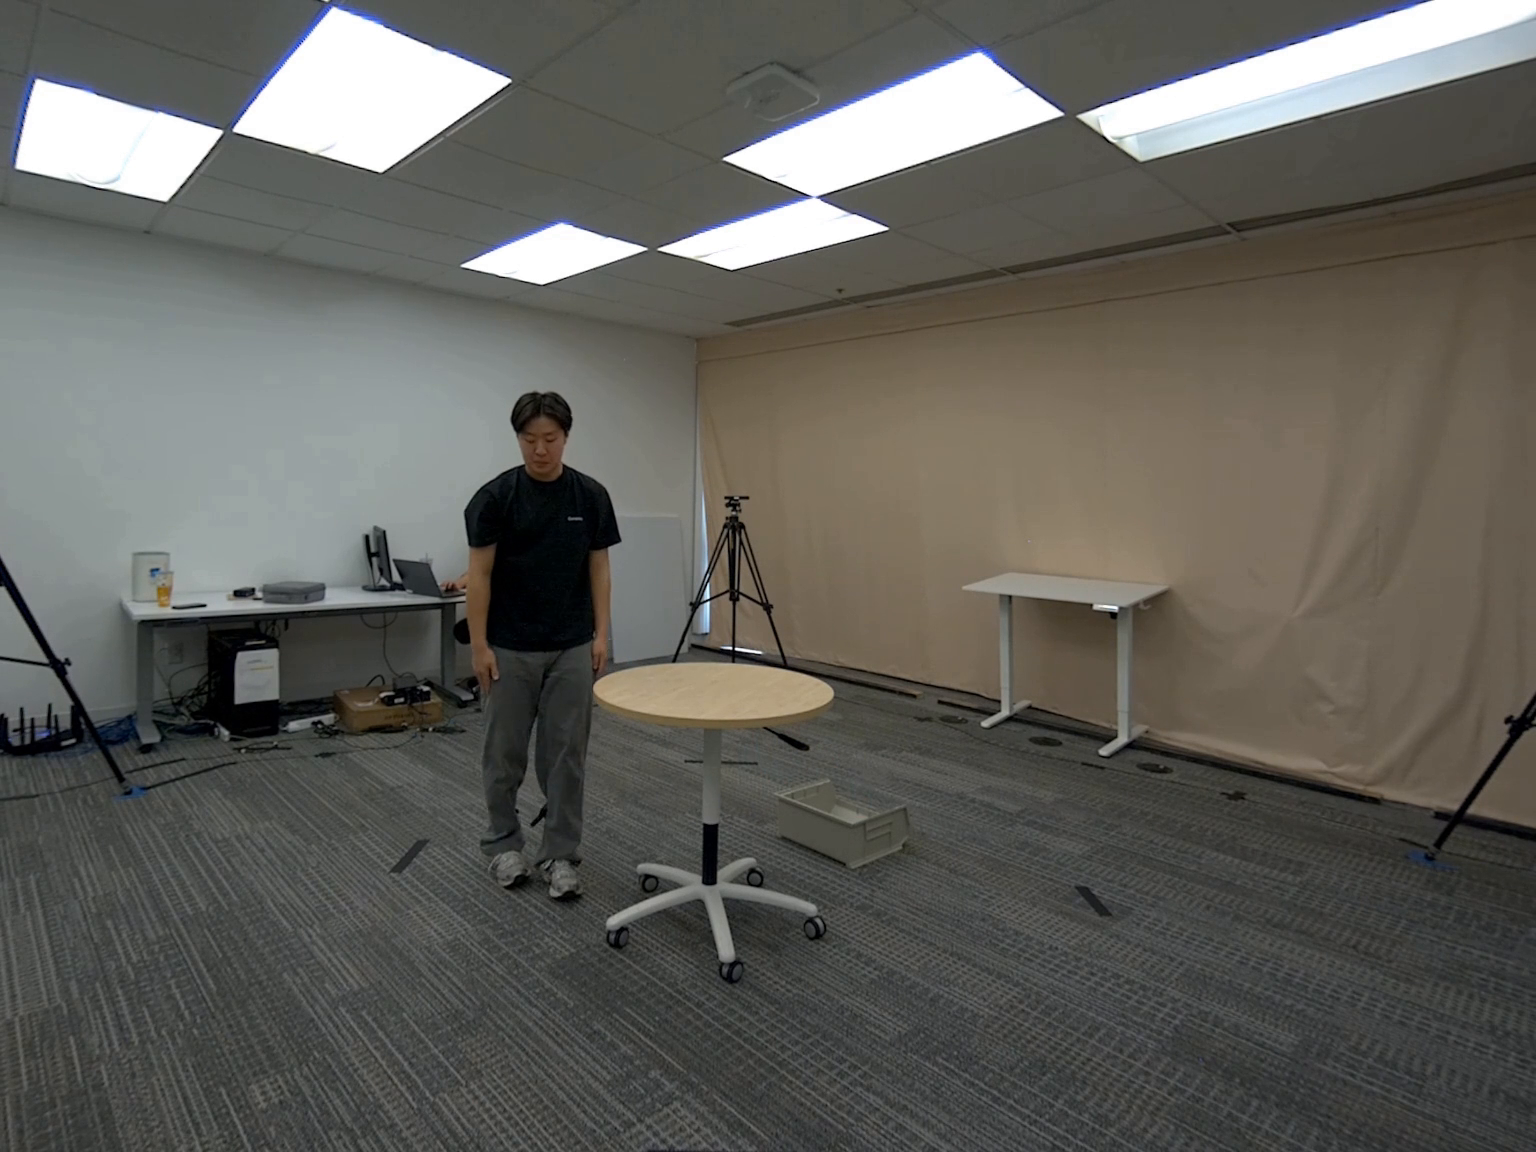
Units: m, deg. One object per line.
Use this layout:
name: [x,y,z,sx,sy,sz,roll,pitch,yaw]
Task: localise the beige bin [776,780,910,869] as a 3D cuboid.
beige bin: [0.298,0.998,3.443,0.369,0.188,0.433,-4,7,-43]
